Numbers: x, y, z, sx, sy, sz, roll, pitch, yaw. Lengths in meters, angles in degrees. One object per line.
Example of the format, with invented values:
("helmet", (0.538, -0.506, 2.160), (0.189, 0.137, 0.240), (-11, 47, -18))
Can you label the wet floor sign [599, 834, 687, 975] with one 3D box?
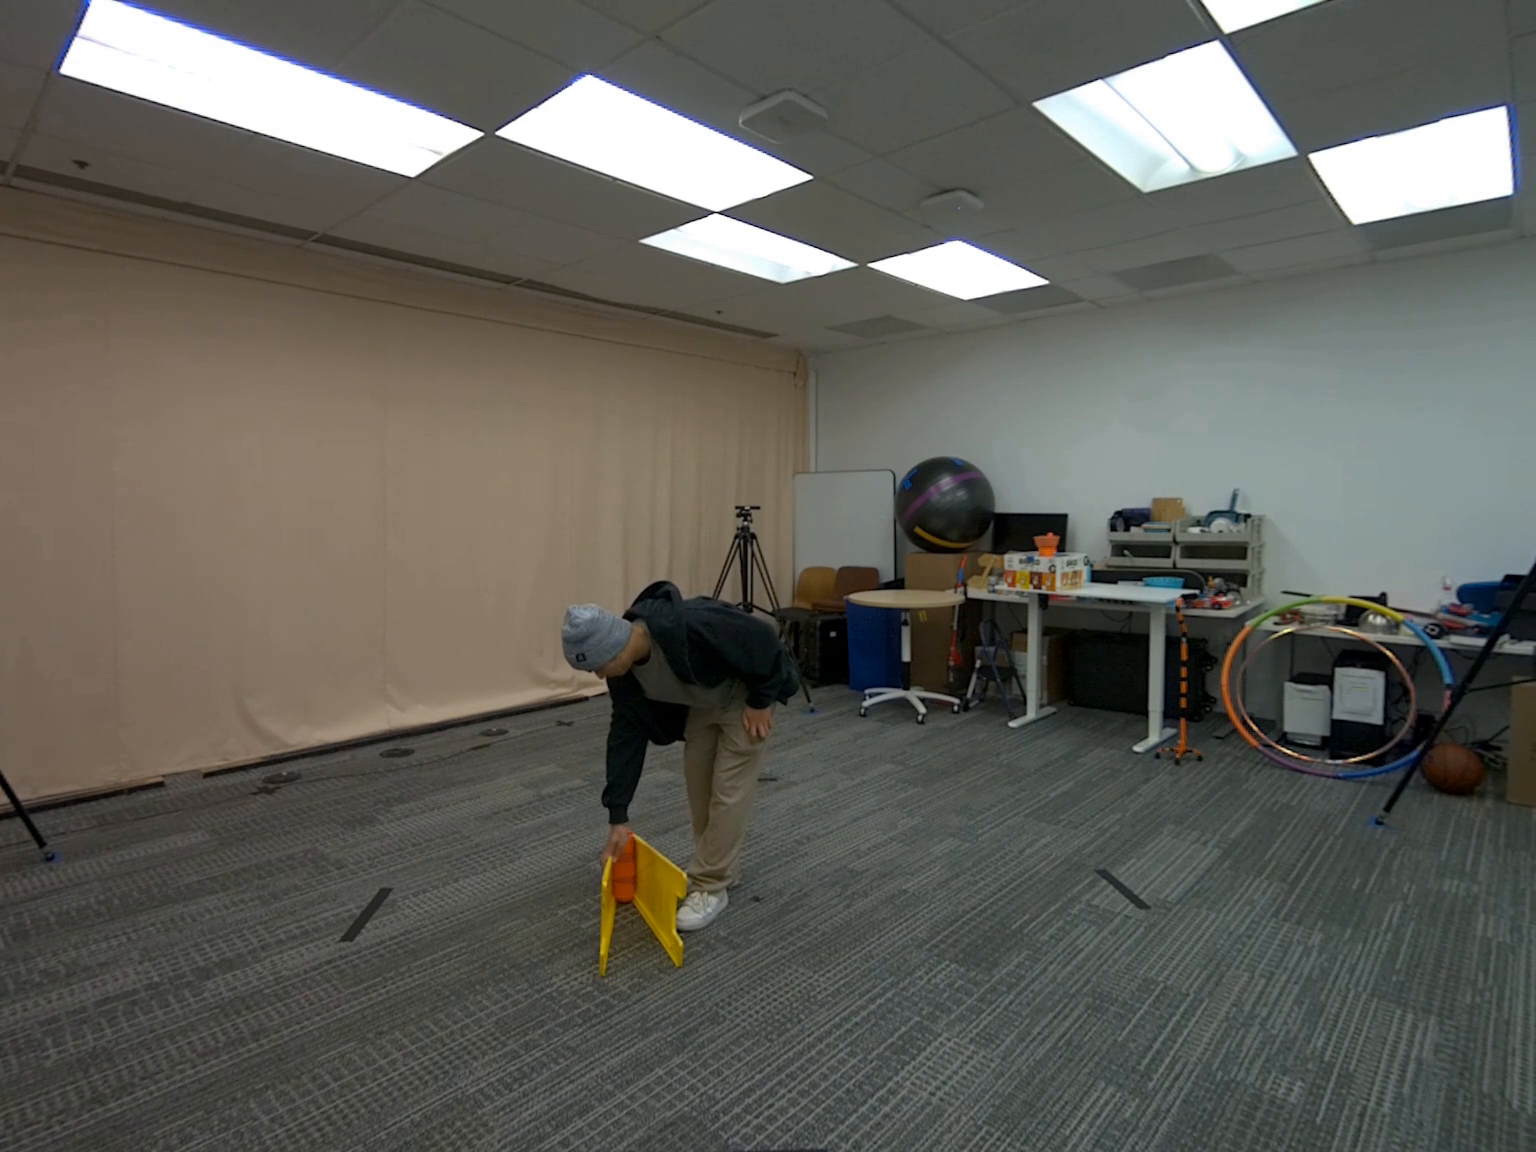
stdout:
("wet floor sign", (-0.471, 1.035, 2.821), (0.285, 0.282, 0.656), (0, 1, -15))
